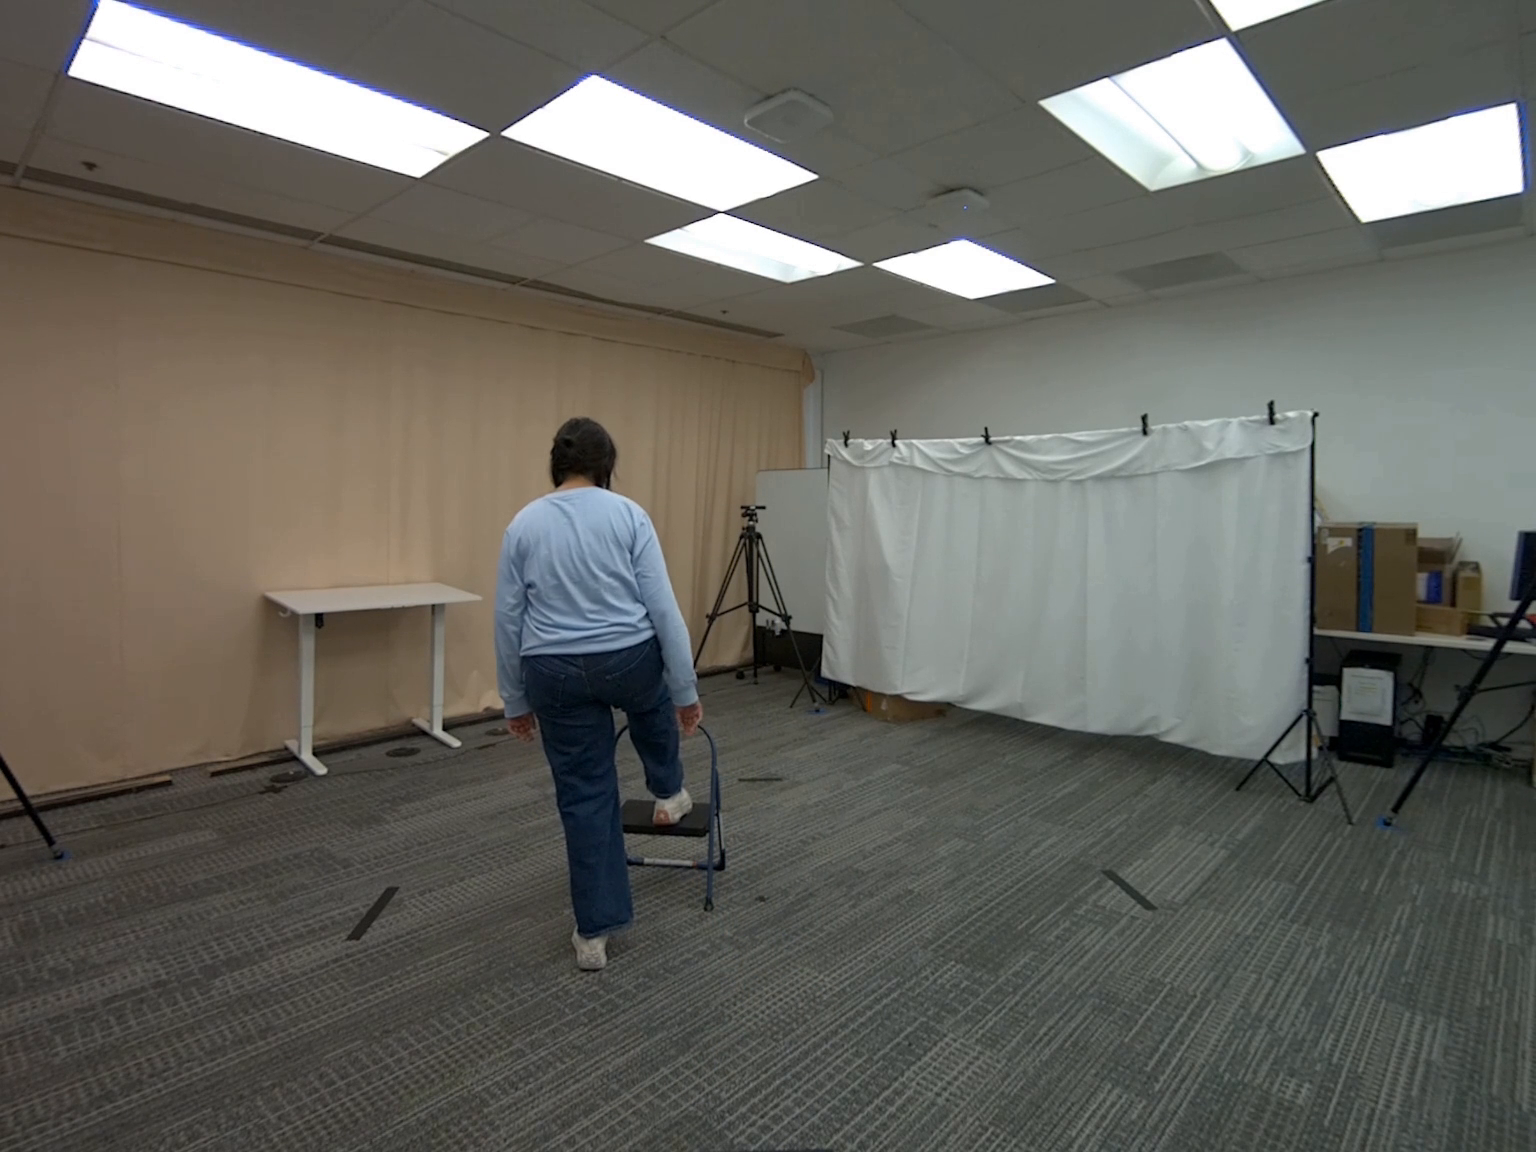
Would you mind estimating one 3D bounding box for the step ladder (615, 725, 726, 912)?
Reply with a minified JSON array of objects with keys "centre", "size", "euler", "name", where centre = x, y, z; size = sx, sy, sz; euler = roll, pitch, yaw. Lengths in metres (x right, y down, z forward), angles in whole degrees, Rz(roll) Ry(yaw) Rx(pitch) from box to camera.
[{"centre":[-0.383,0.837,3.088],"size":[0.435,0.605,0.347],"euler":[0,3,8],"name":"step ladder"}]
